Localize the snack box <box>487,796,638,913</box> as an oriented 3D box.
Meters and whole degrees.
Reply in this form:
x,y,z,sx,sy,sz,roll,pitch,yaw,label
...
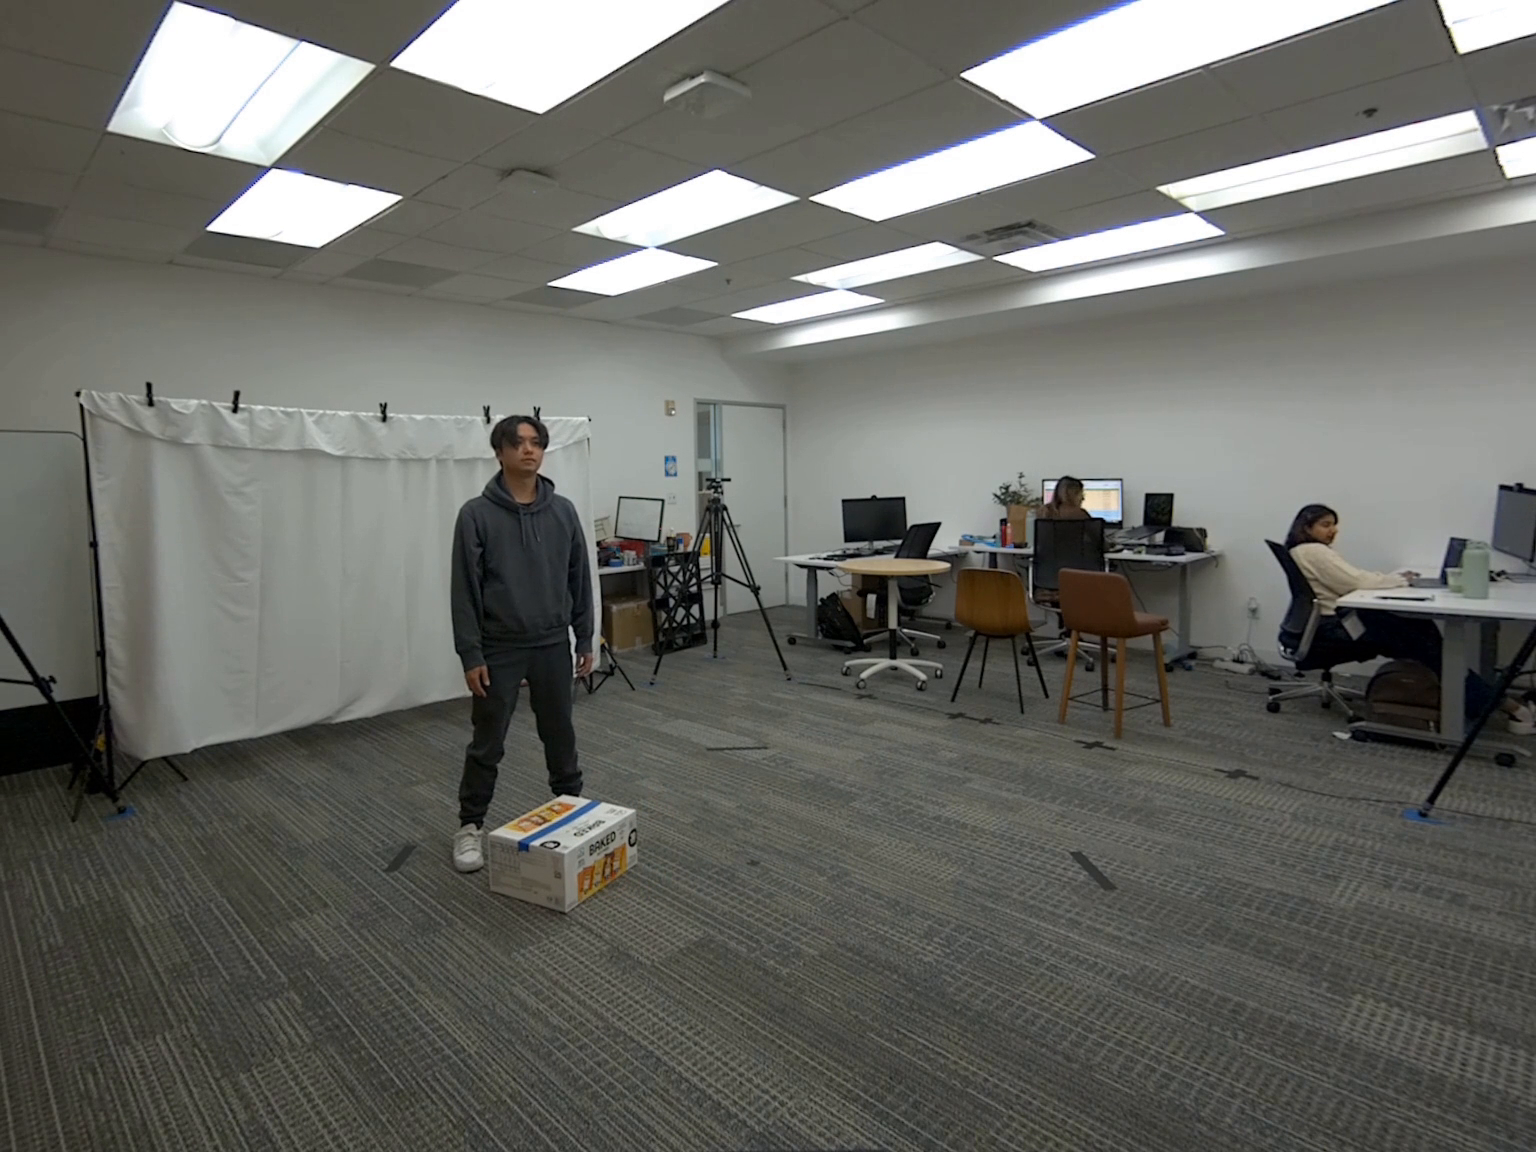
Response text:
x,y,z,sx,sy,sz,roll,pitch,yaw,label
-0.713,0.964,3.011,0.349,0.205,0.397,2,7,28,snack box
